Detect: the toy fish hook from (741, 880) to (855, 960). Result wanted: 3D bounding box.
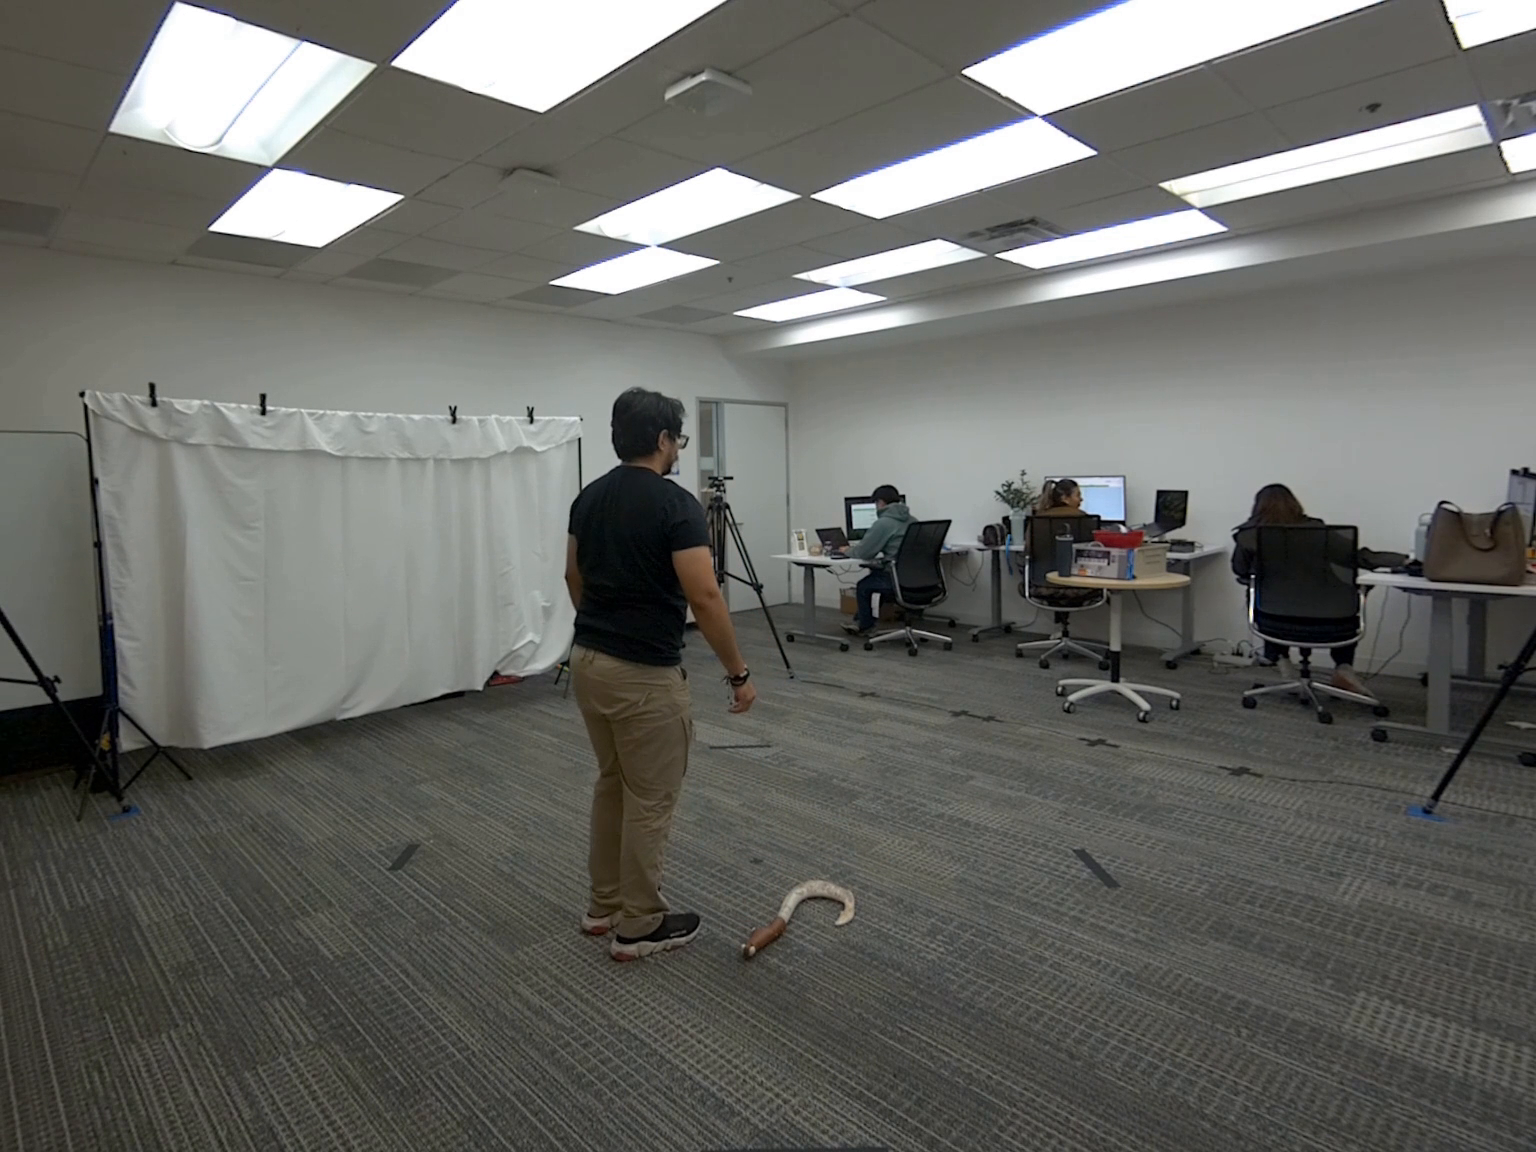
[{"bbox_3d":[0.109,1.068,2.647,0.231,0.048,0.495,2,8,32],"label":"toy fish hook"}]
